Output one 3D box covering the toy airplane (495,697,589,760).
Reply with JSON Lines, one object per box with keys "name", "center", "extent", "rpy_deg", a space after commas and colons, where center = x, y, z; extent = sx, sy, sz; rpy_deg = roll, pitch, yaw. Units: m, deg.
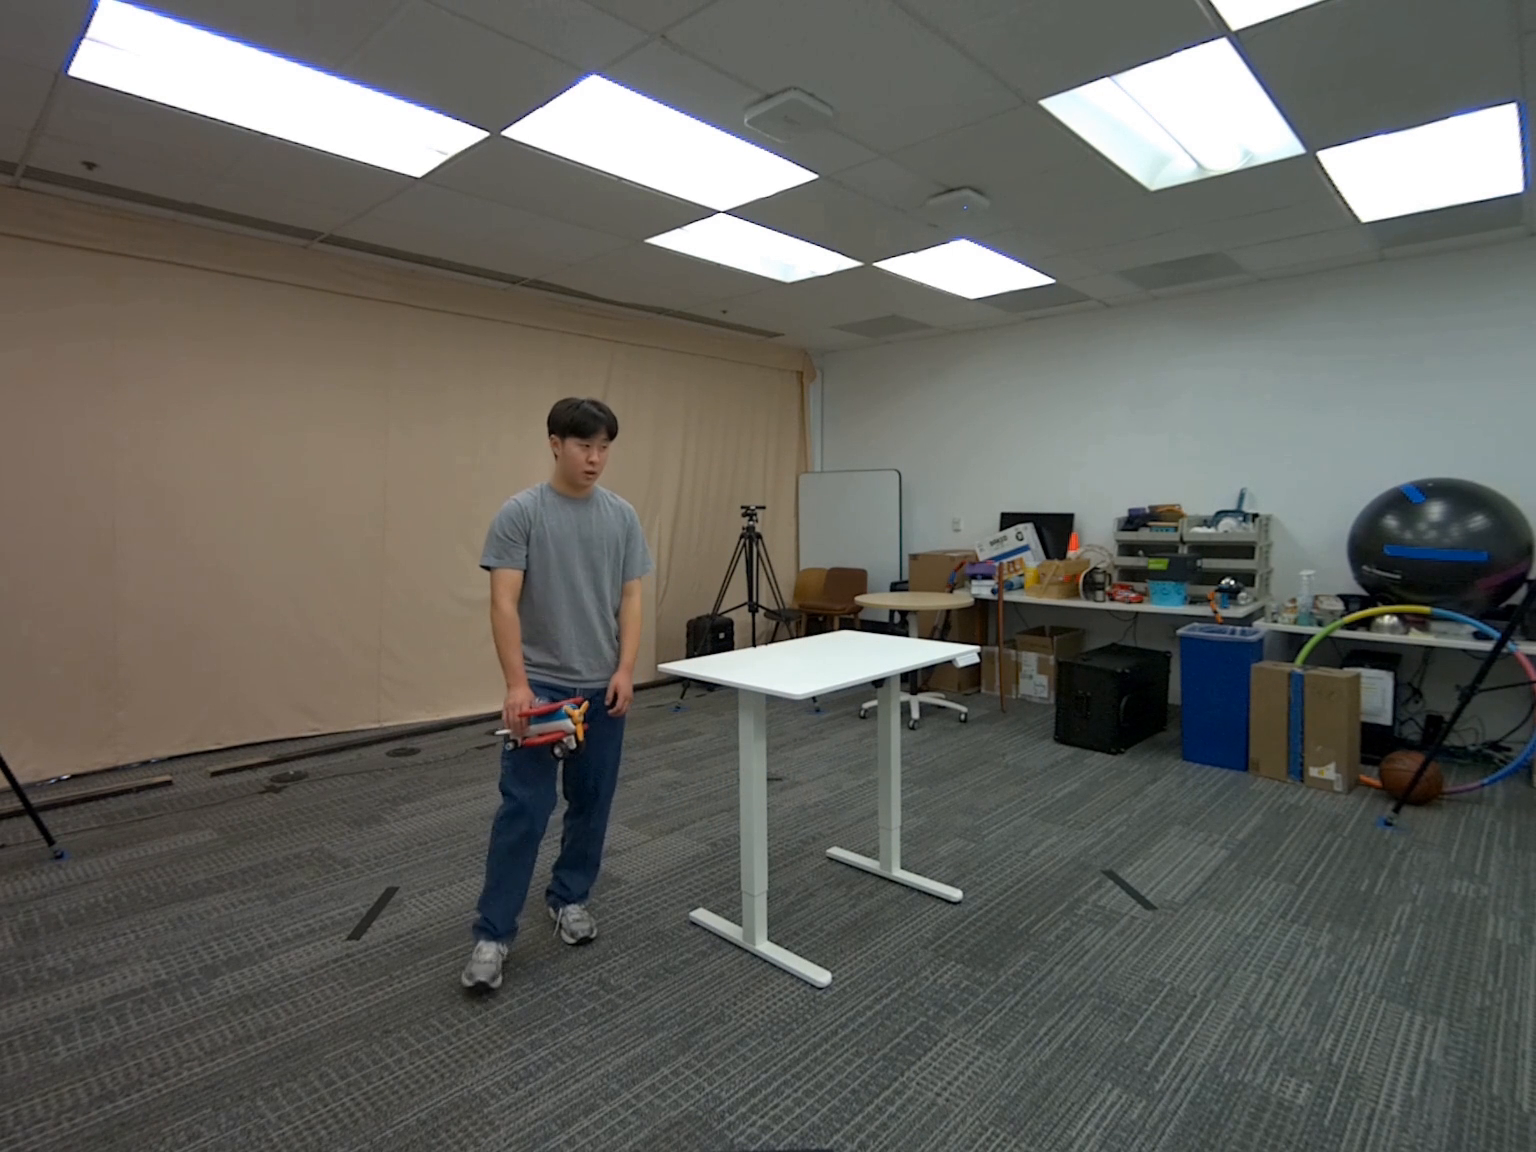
{"name": "toy airplane", "center": [-0.640, 0.435, 2.384], "extent": [0.257, 0.156, 0.253], "rpy_deg": [2, -1, -7]}
